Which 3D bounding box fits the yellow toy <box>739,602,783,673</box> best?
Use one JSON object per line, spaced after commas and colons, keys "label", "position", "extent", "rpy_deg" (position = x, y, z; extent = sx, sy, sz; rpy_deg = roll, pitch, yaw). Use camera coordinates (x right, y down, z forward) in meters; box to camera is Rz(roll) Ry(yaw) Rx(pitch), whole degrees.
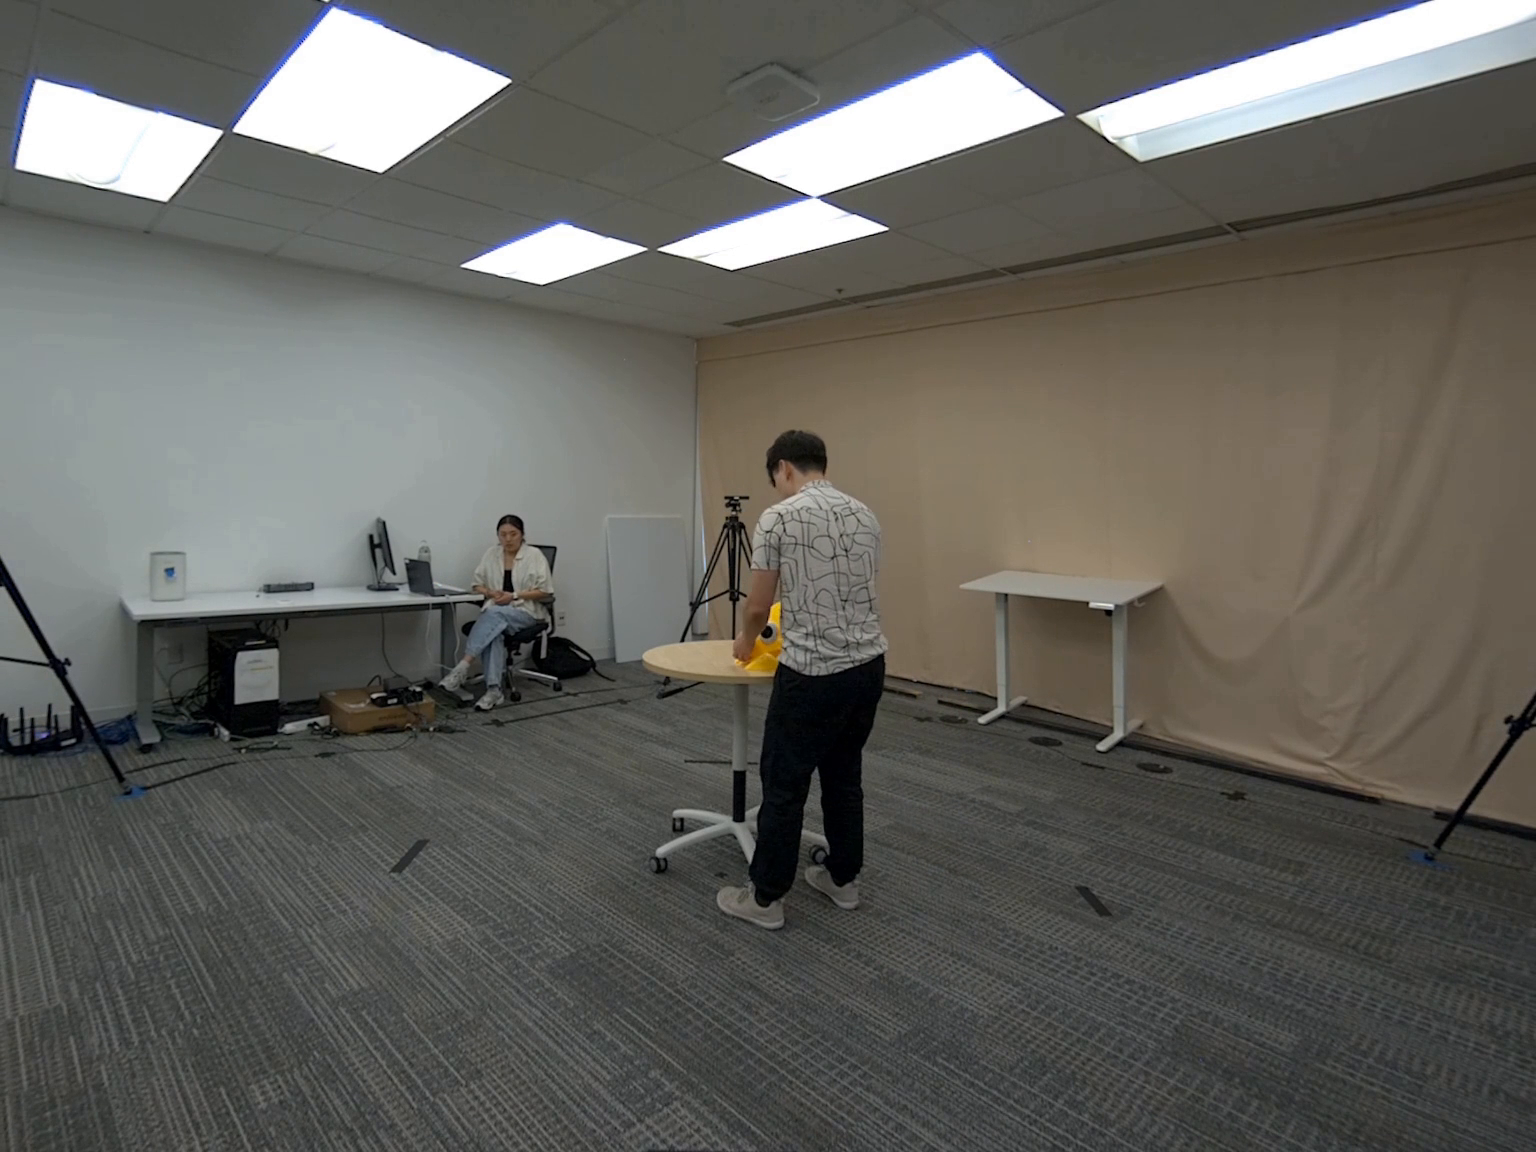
{"label": "yellow toy", "position": [-0.023, 0.215, 3.062], "extent": [0.190, 0.230, 0.208], "rpy_deg": [0, 4, -19]}
